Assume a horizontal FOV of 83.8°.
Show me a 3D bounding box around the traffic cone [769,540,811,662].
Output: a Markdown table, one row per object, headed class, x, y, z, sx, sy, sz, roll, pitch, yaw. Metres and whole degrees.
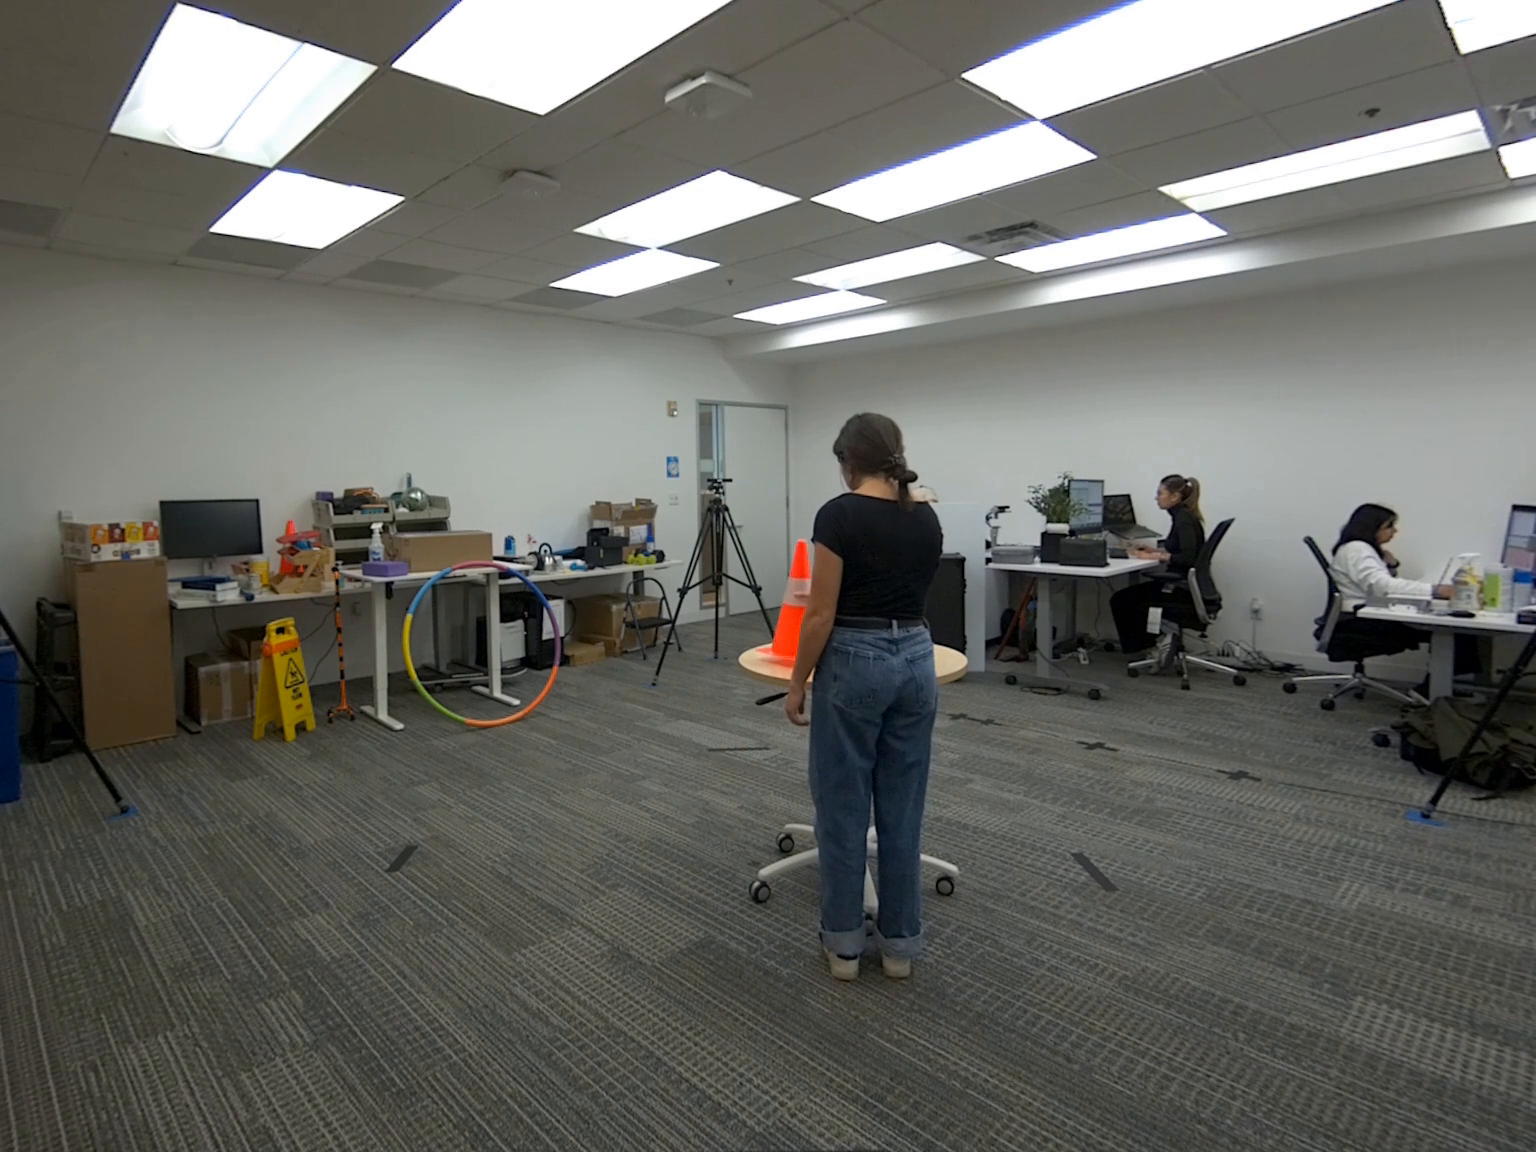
| class | x | y | z | sx | sy | sz | roll | pitch | yaw |
| --- | --- | --- | --- | --- | --- | --- | --- | --- | --- |
| traffic cone | 0.109 | 0.071 | 2.868 | 0.199 | 0.382 | 0.210 | -3 | 6 | -42 |
